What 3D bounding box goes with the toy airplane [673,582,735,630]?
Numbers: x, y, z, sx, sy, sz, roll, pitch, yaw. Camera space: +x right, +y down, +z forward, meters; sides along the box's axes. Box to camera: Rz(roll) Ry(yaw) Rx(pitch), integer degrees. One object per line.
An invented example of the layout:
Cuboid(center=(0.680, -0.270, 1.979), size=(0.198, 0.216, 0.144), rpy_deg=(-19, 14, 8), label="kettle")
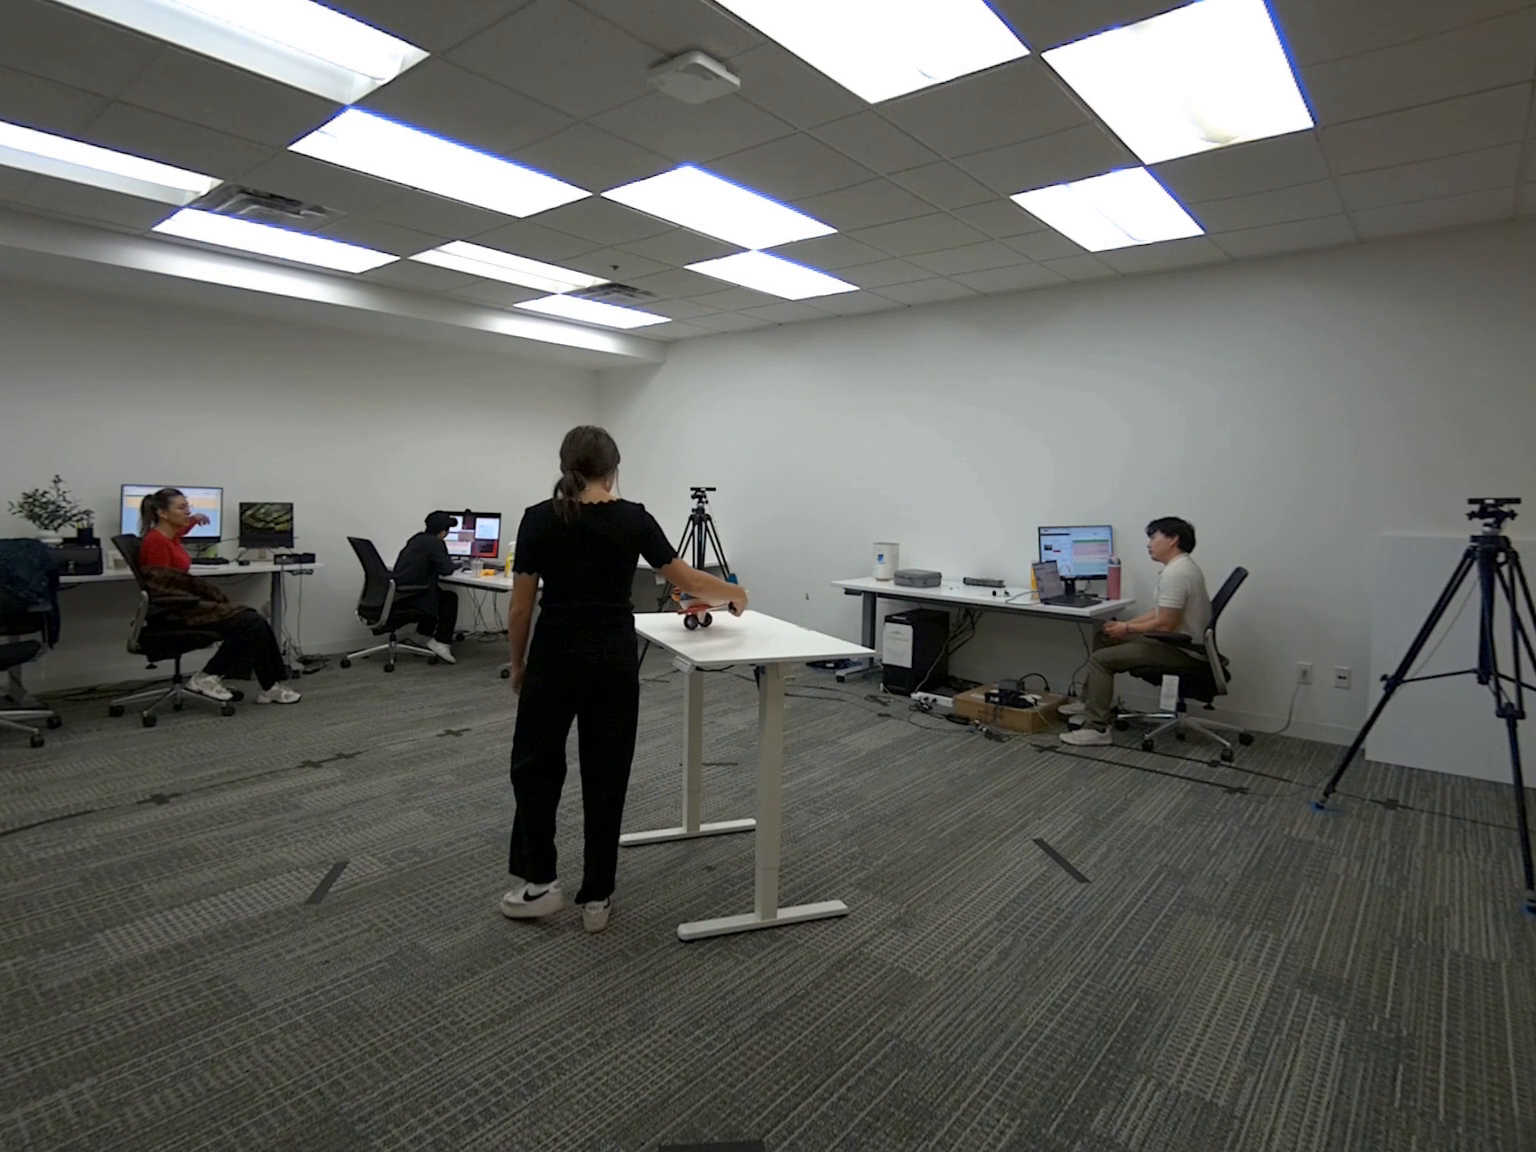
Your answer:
Cuboid(center=(-0.216, 0.082, 3.062), size=(0.260, 0.158, 0.247), rpy_deg=(-22, -9, 3), label="toy airplane")
